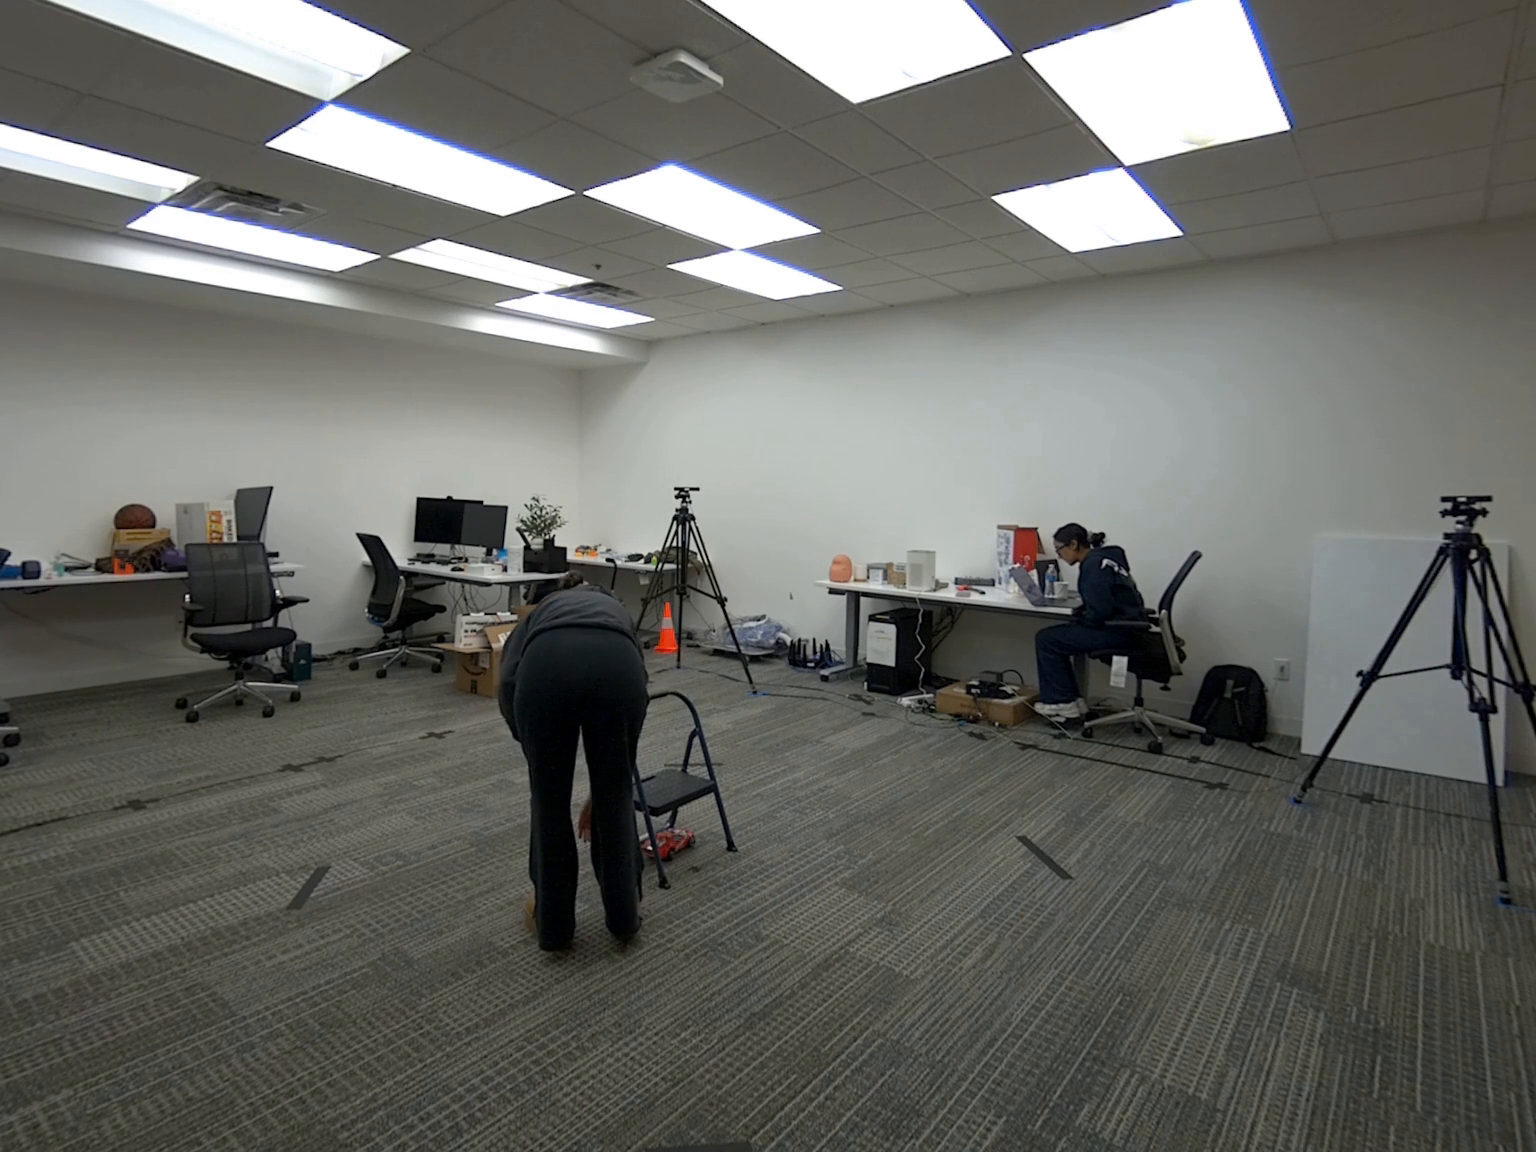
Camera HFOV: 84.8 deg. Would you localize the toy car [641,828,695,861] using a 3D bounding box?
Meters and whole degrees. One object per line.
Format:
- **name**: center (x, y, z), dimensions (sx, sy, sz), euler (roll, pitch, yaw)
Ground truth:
- **toy car**: center (-0.394, 1.022, 3.243), dimensions (0.134, 0.083, 0.246), euler (4, -5, 29)
